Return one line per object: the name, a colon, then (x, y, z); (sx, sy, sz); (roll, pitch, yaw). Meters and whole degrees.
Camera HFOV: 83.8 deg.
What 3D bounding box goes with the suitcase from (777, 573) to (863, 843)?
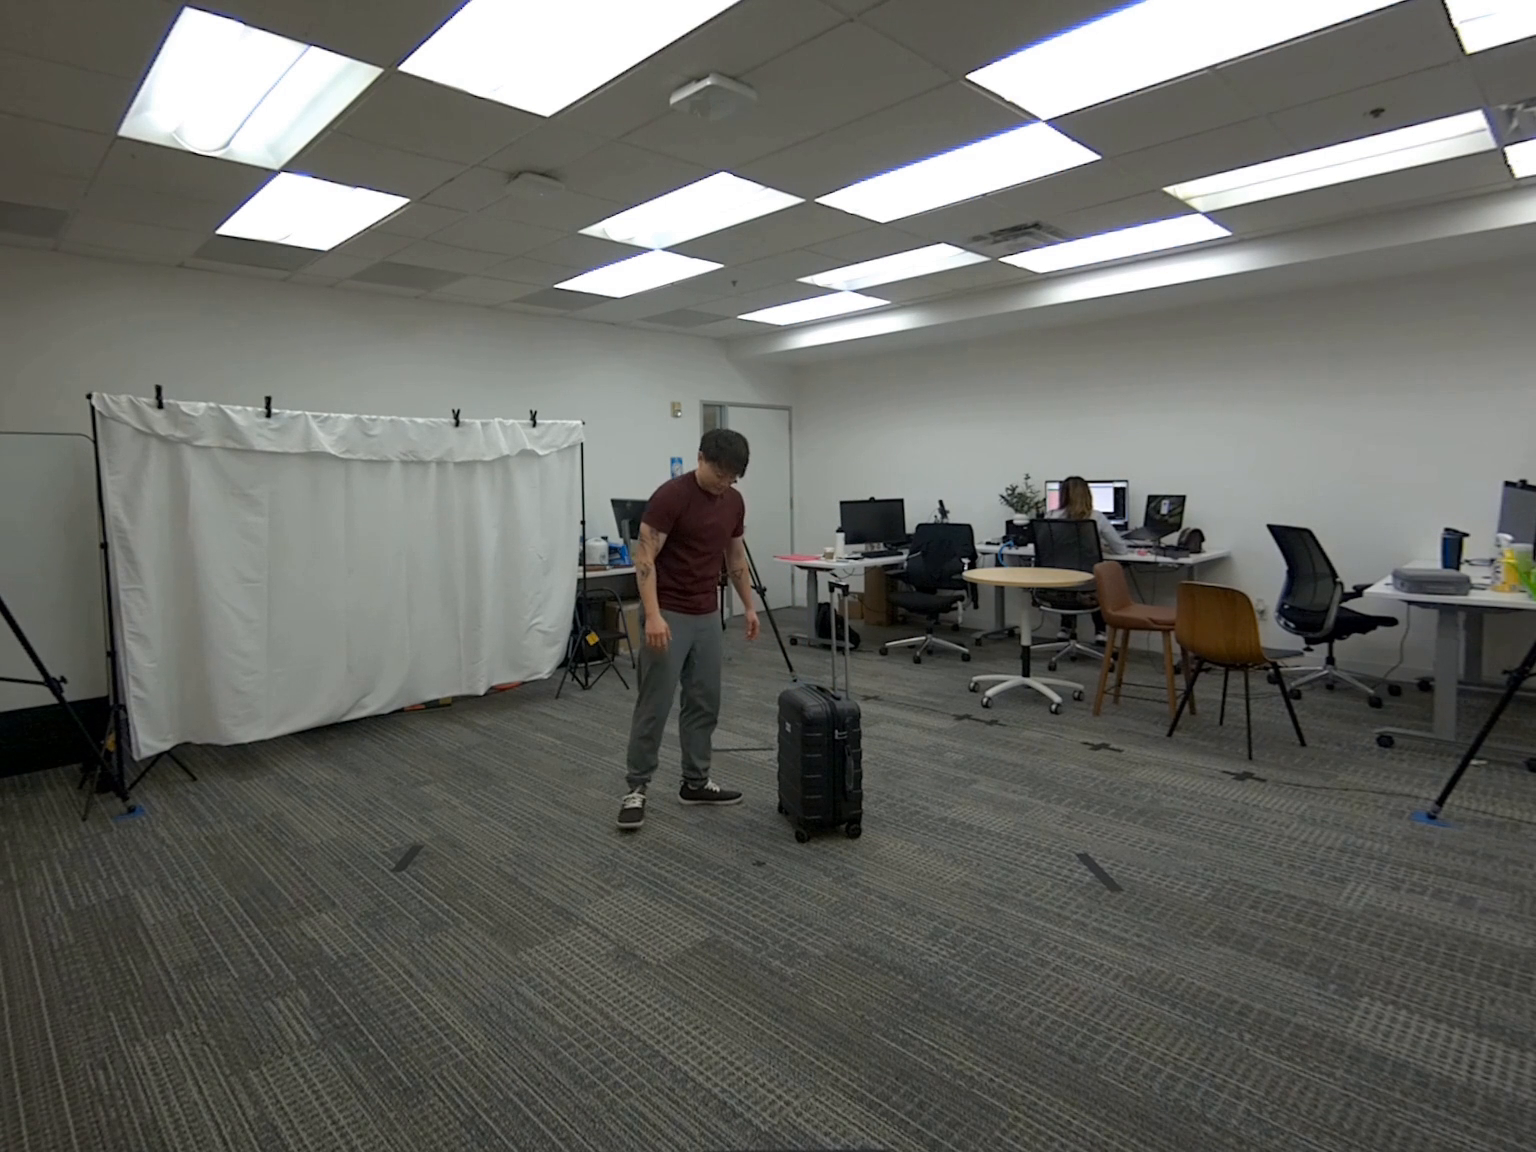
suitcase: (0.204, 0.535, 3.418); (0.254, 0.975, 0.390); (-2, 4, -14)
